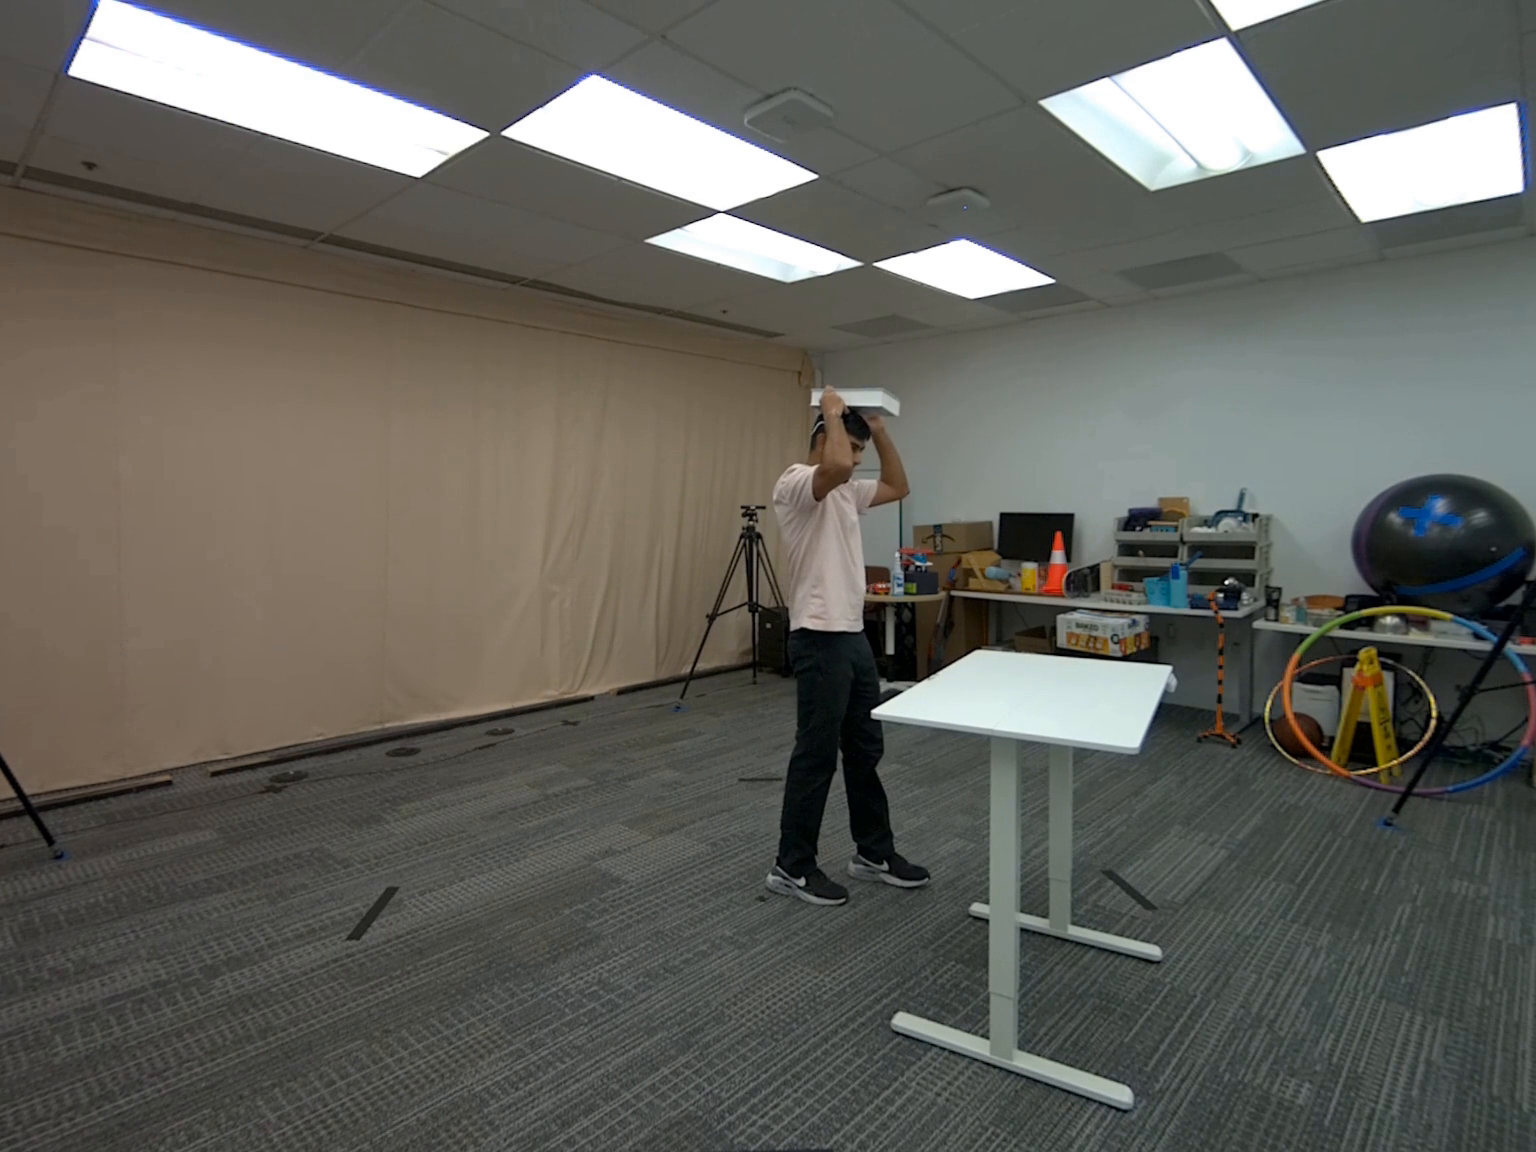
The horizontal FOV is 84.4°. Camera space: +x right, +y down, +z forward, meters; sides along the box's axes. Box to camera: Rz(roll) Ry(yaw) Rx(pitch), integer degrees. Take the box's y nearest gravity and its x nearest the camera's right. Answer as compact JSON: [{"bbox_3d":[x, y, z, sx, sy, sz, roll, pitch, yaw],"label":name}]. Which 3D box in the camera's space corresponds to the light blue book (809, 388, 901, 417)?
[{"bbox_3d":[0.306,-0.597,2.945,0.268,0.059,0.186,6,0,25],"label":"light blue book"}]
